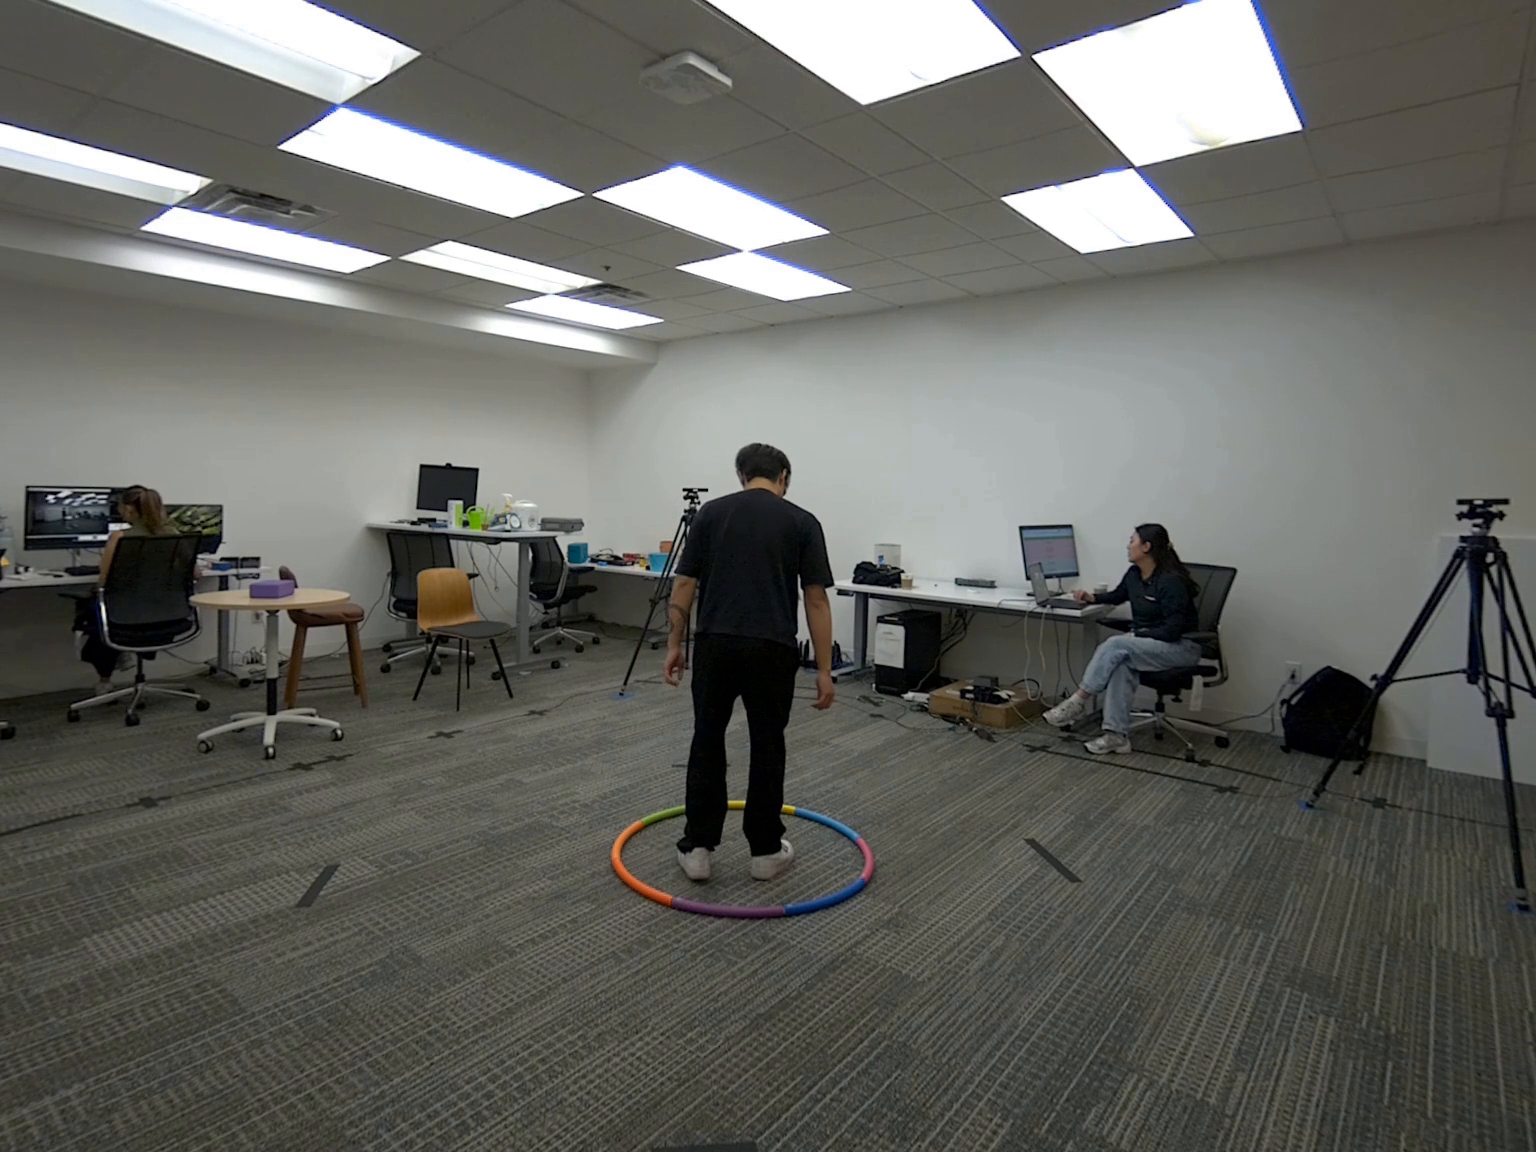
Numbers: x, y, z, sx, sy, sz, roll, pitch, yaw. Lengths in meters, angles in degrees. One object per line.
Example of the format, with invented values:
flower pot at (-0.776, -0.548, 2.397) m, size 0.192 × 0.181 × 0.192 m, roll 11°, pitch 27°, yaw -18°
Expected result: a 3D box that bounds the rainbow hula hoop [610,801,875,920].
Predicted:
rainbow hula hoop at (-0.107, 1.032, 3.232) m, size 0.978 × 0.035 × 0.984 m, roll 1°, pitch 6°, yaw -2°
